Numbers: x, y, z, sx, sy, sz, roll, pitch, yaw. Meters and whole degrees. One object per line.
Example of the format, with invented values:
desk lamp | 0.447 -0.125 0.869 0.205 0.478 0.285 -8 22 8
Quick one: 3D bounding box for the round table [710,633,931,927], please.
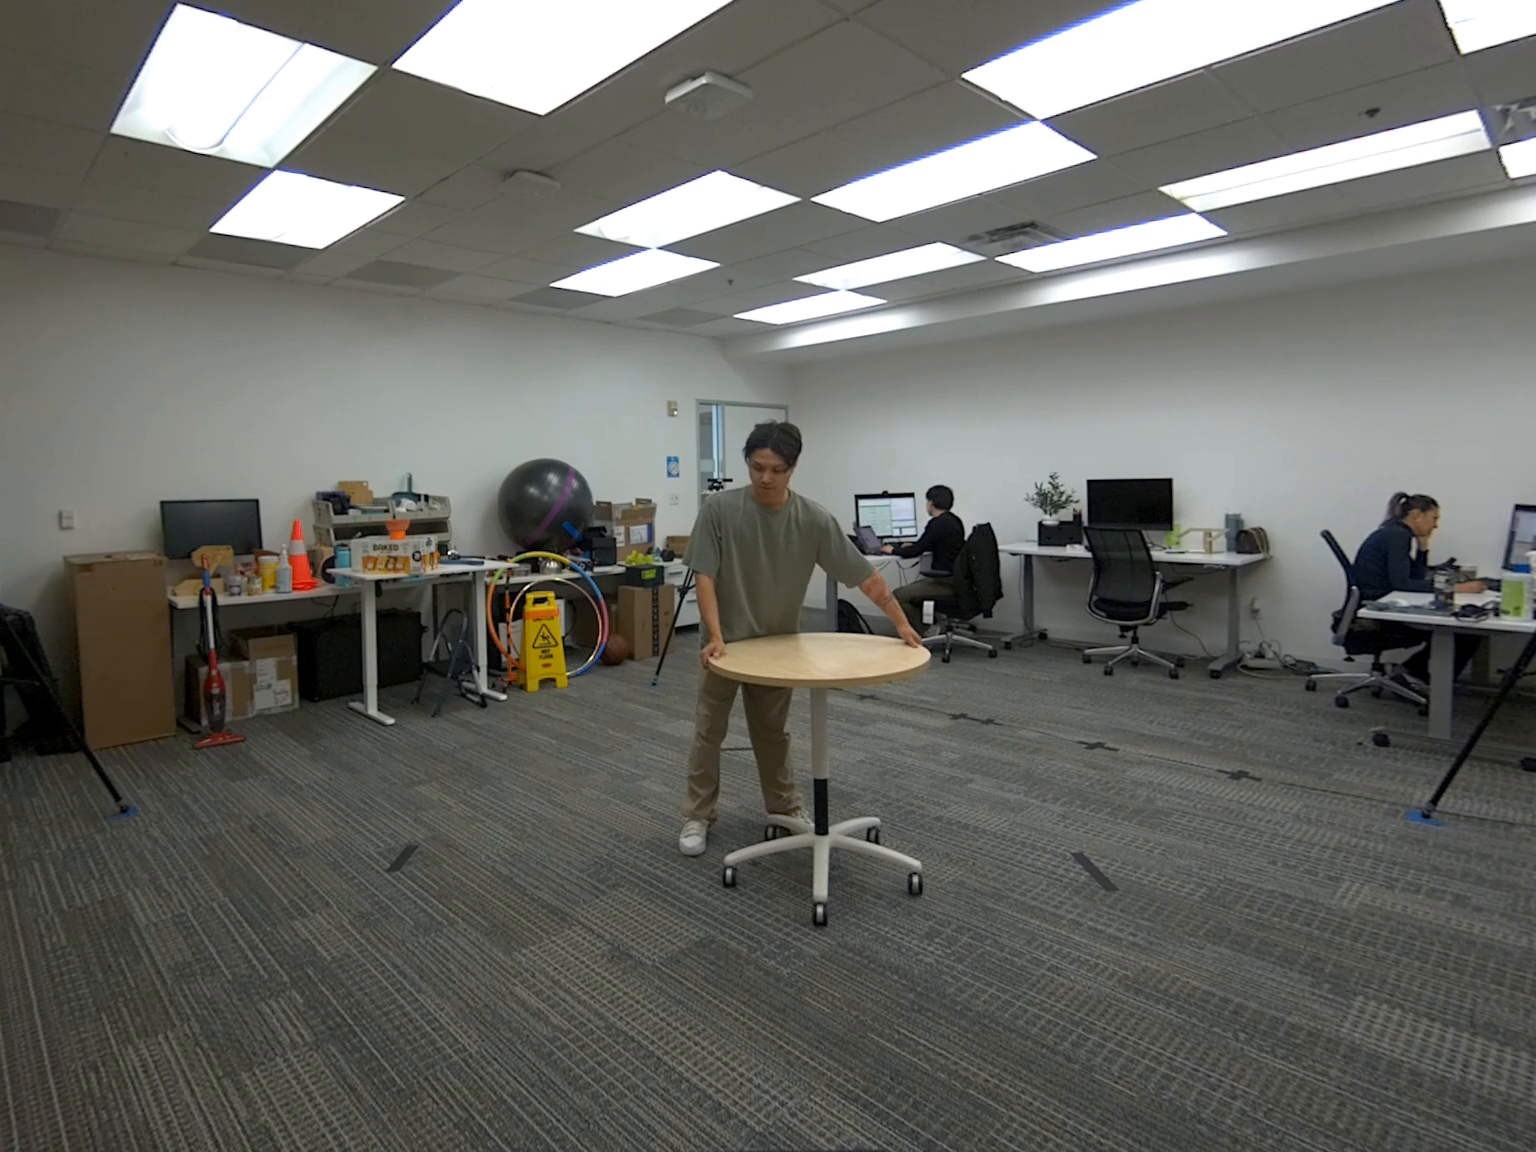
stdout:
round table | 0.195 0.659 2.981 0.785 0.783 0.789 -2 5 -1
